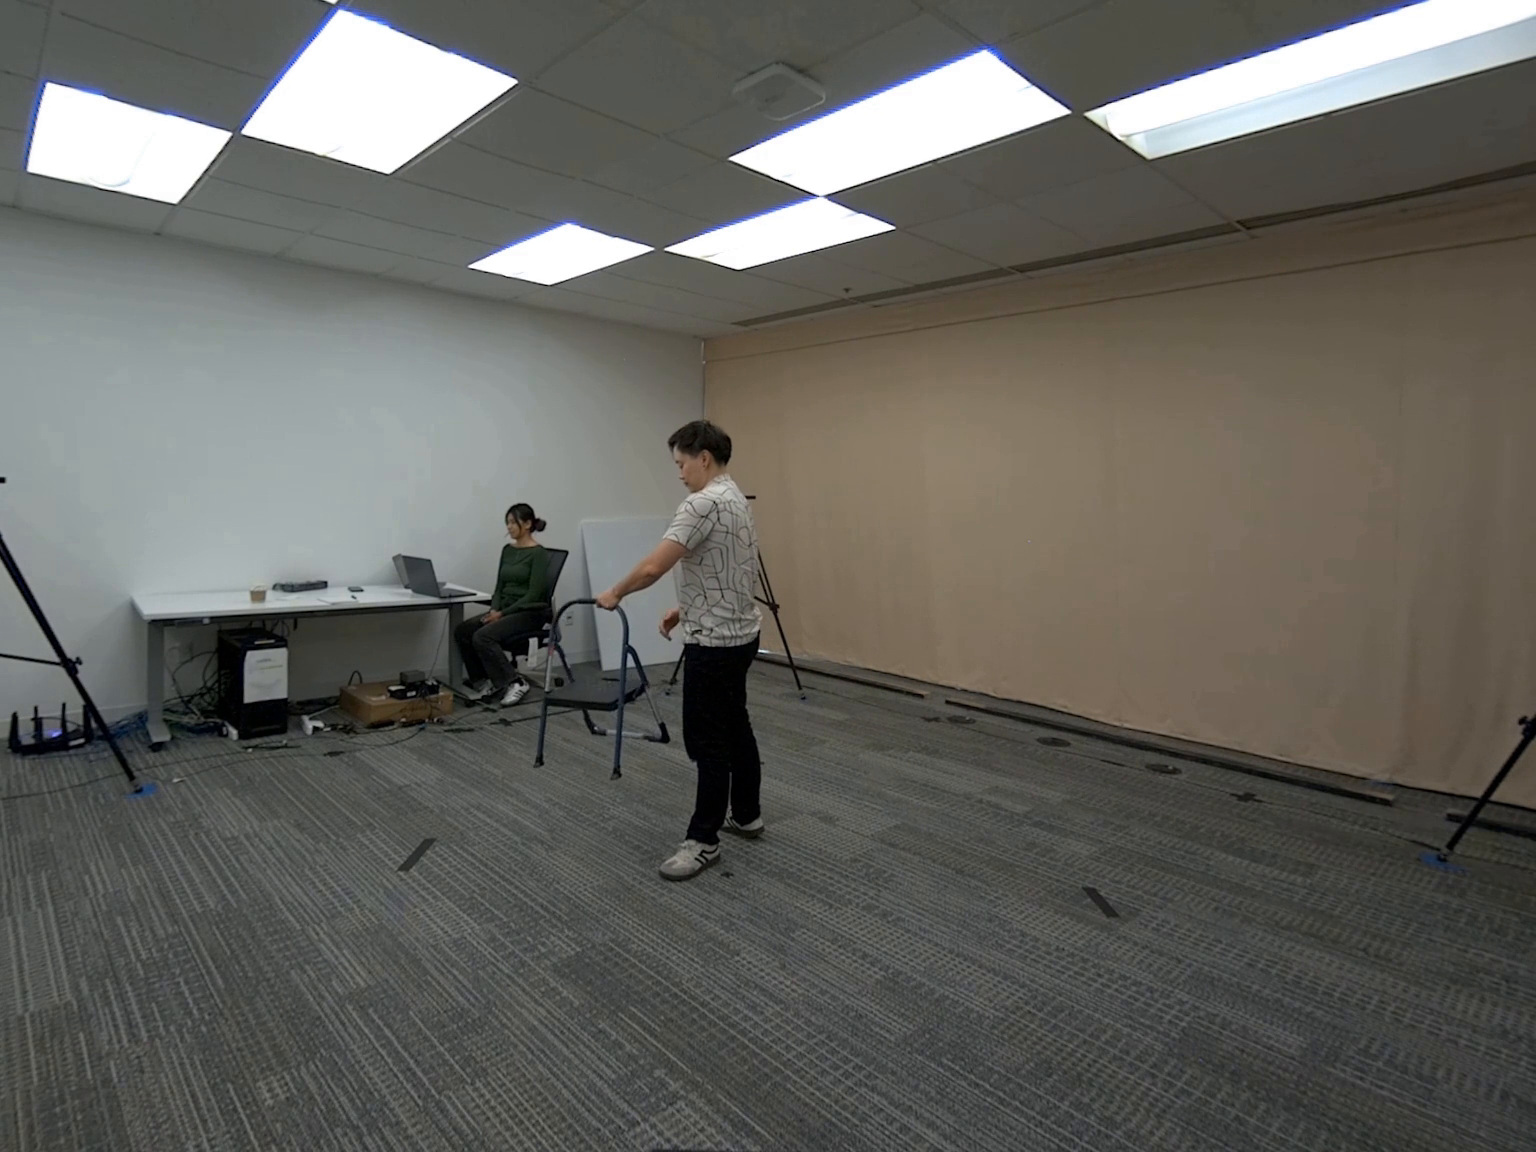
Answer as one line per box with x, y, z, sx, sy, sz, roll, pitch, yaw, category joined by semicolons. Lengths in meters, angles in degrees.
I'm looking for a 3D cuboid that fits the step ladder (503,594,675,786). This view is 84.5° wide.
-0.679;0.409;3.237;0.440;0.601;0.345;-1;12;32;step ladder
